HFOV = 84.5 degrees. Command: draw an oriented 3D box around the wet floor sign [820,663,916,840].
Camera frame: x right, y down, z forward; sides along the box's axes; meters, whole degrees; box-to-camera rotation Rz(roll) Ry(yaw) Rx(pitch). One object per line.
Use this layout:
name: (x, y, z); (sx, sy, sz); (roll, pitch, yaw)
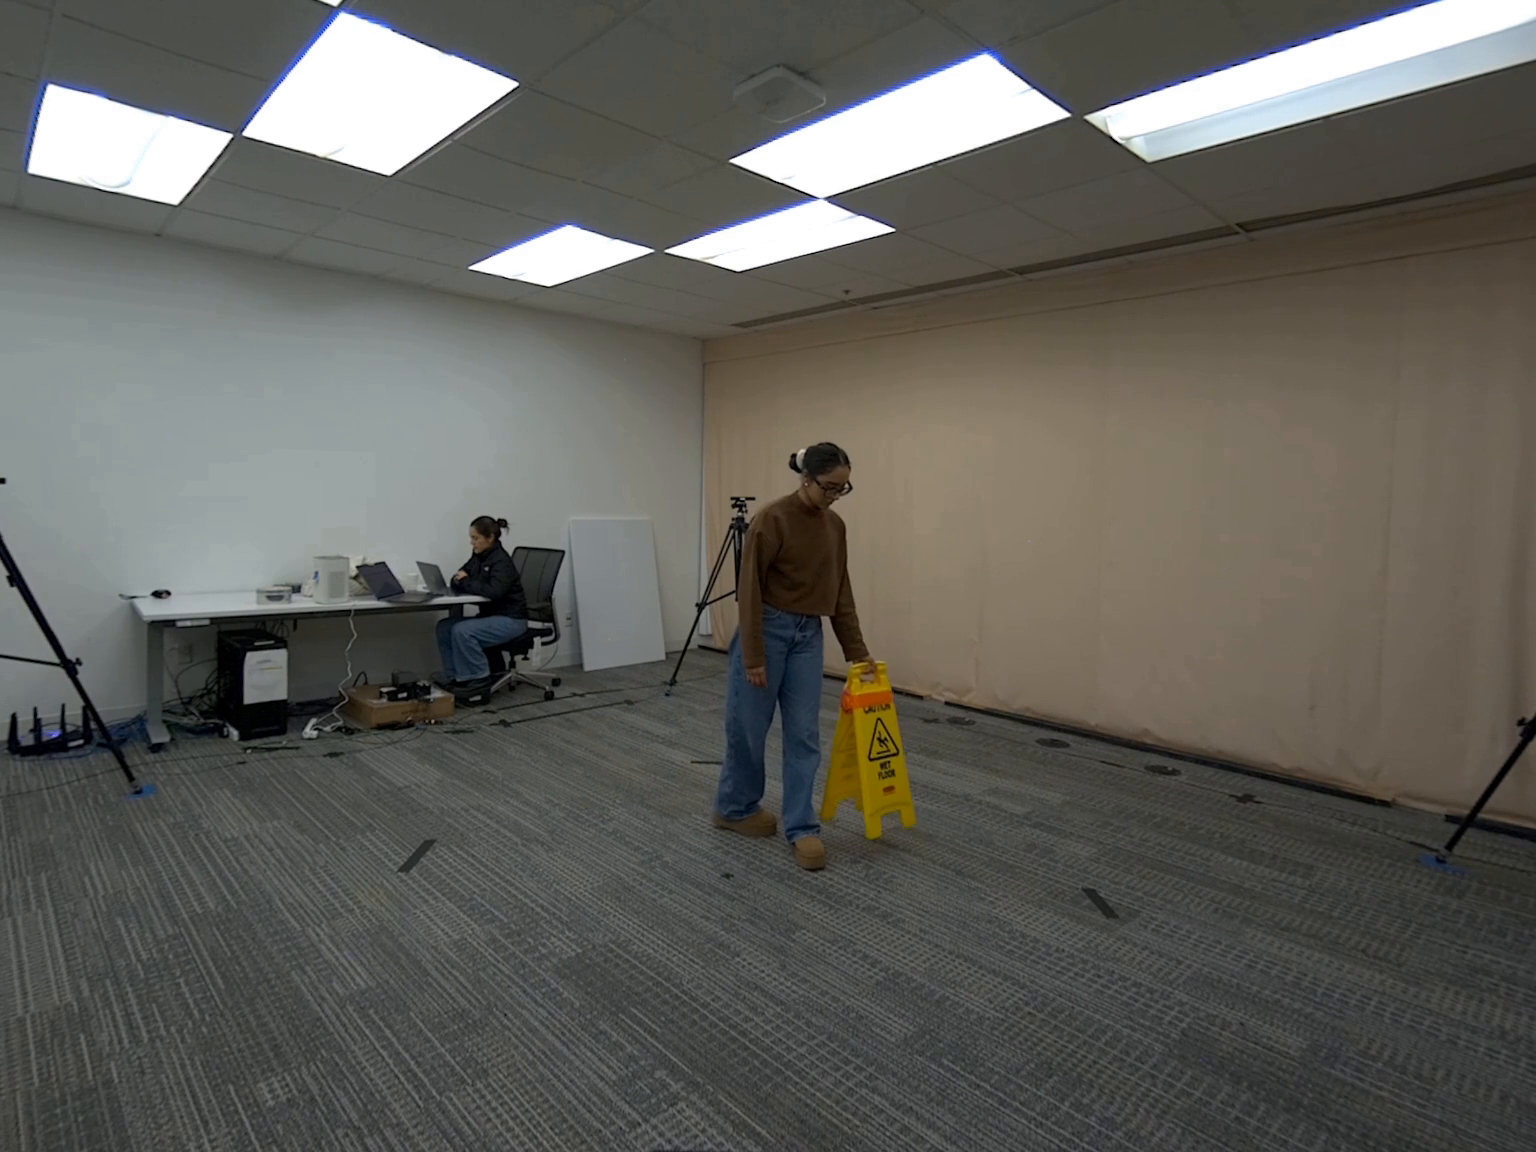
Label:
wet floor sign: (0.388, 0.672, 3.402); (0.276, 0.646, 0.296); (0, 1, -39)
